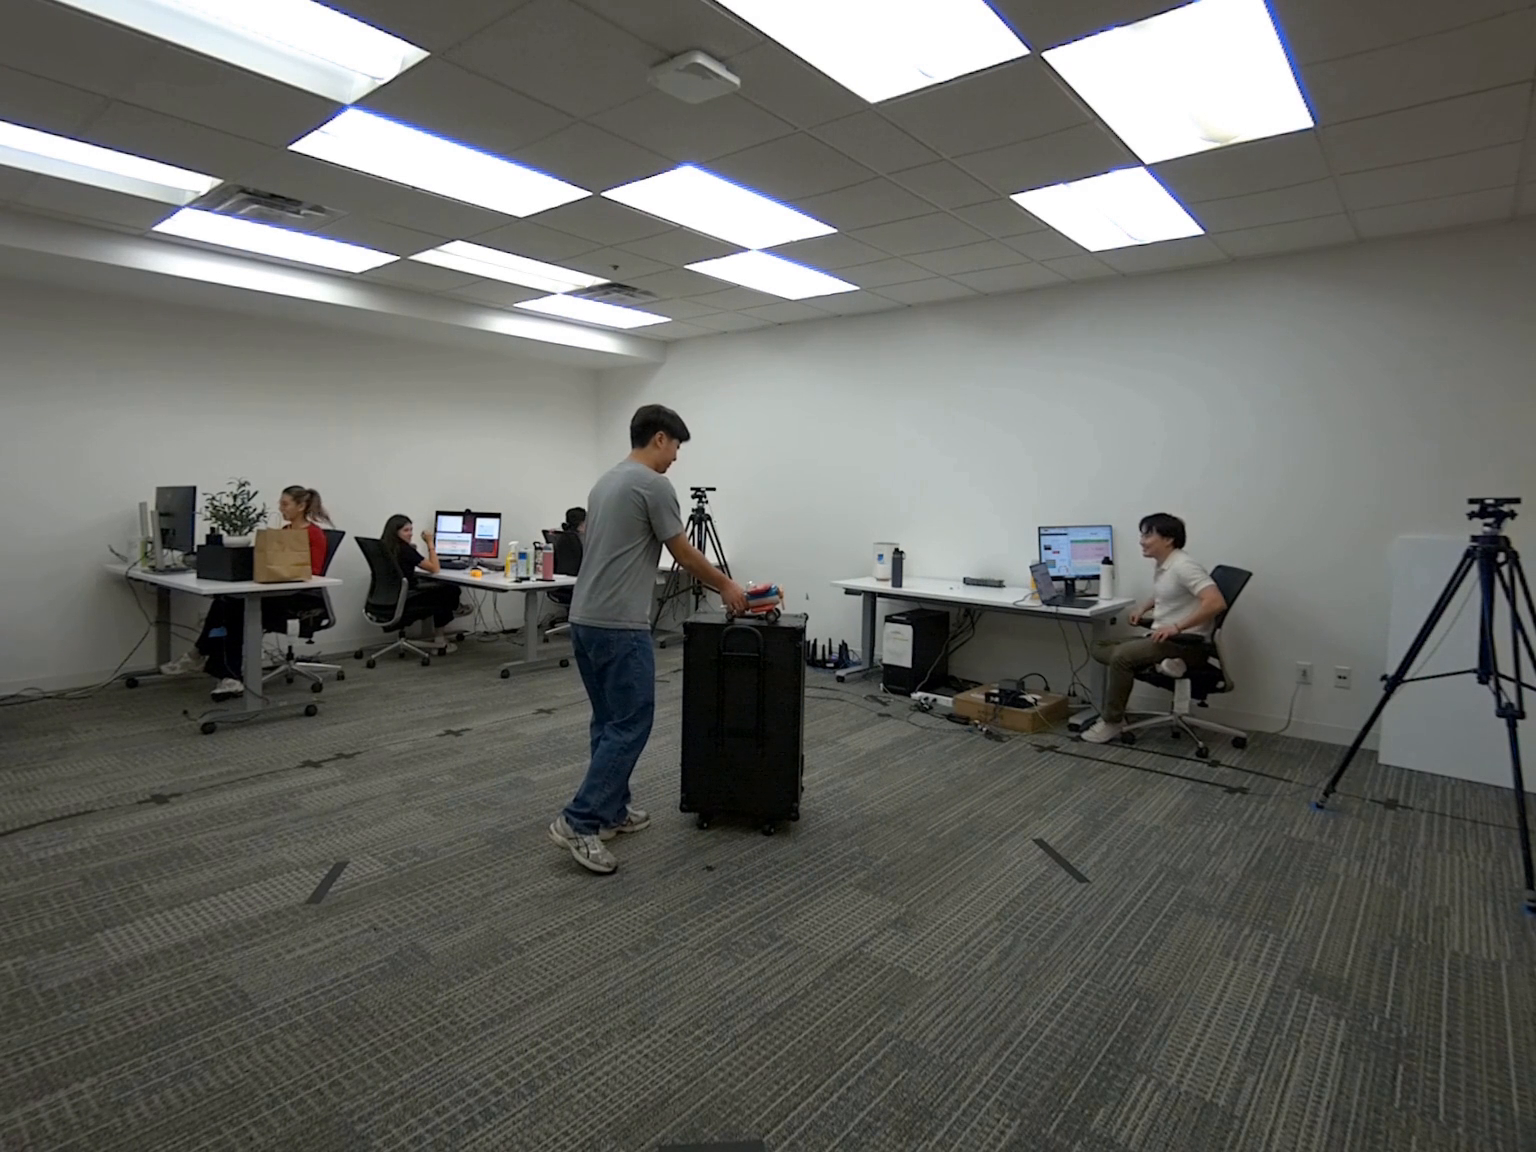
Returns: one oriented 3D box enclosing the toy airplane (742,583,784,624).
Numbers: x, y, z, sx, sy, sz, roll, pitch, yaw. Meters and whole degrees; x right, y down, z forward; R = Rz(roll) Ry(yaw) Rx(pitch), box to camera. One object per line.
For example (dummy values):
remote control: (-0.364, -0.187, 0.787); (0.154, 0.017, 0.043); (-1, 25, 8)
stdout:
toy airplane: (-0.071, 0.102, 3.479); (0.254, 0.156, 0.256); (1, 4, -18)
